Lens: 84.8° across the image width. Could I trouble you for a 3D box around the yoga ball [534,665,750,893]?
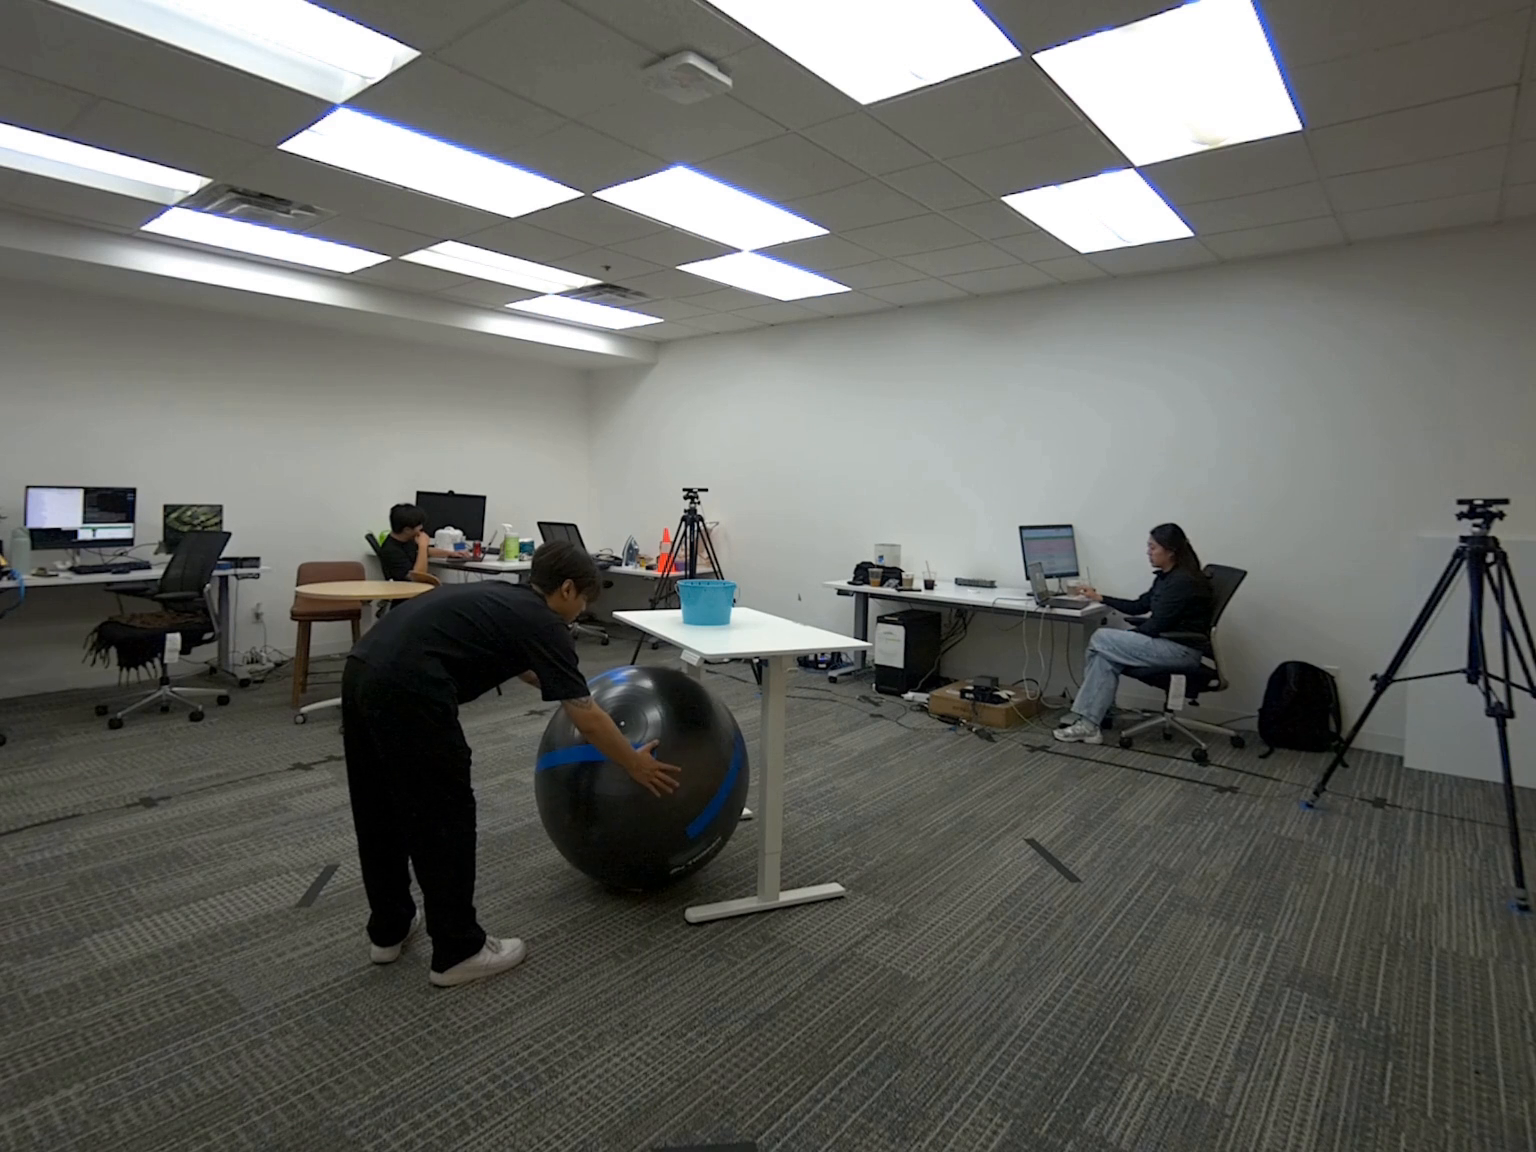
[{"bbox_3d":[-0.456,0.708,3.015,0.757,0.756,0.762,1,4,-2],"label":"yoga ball"}]
